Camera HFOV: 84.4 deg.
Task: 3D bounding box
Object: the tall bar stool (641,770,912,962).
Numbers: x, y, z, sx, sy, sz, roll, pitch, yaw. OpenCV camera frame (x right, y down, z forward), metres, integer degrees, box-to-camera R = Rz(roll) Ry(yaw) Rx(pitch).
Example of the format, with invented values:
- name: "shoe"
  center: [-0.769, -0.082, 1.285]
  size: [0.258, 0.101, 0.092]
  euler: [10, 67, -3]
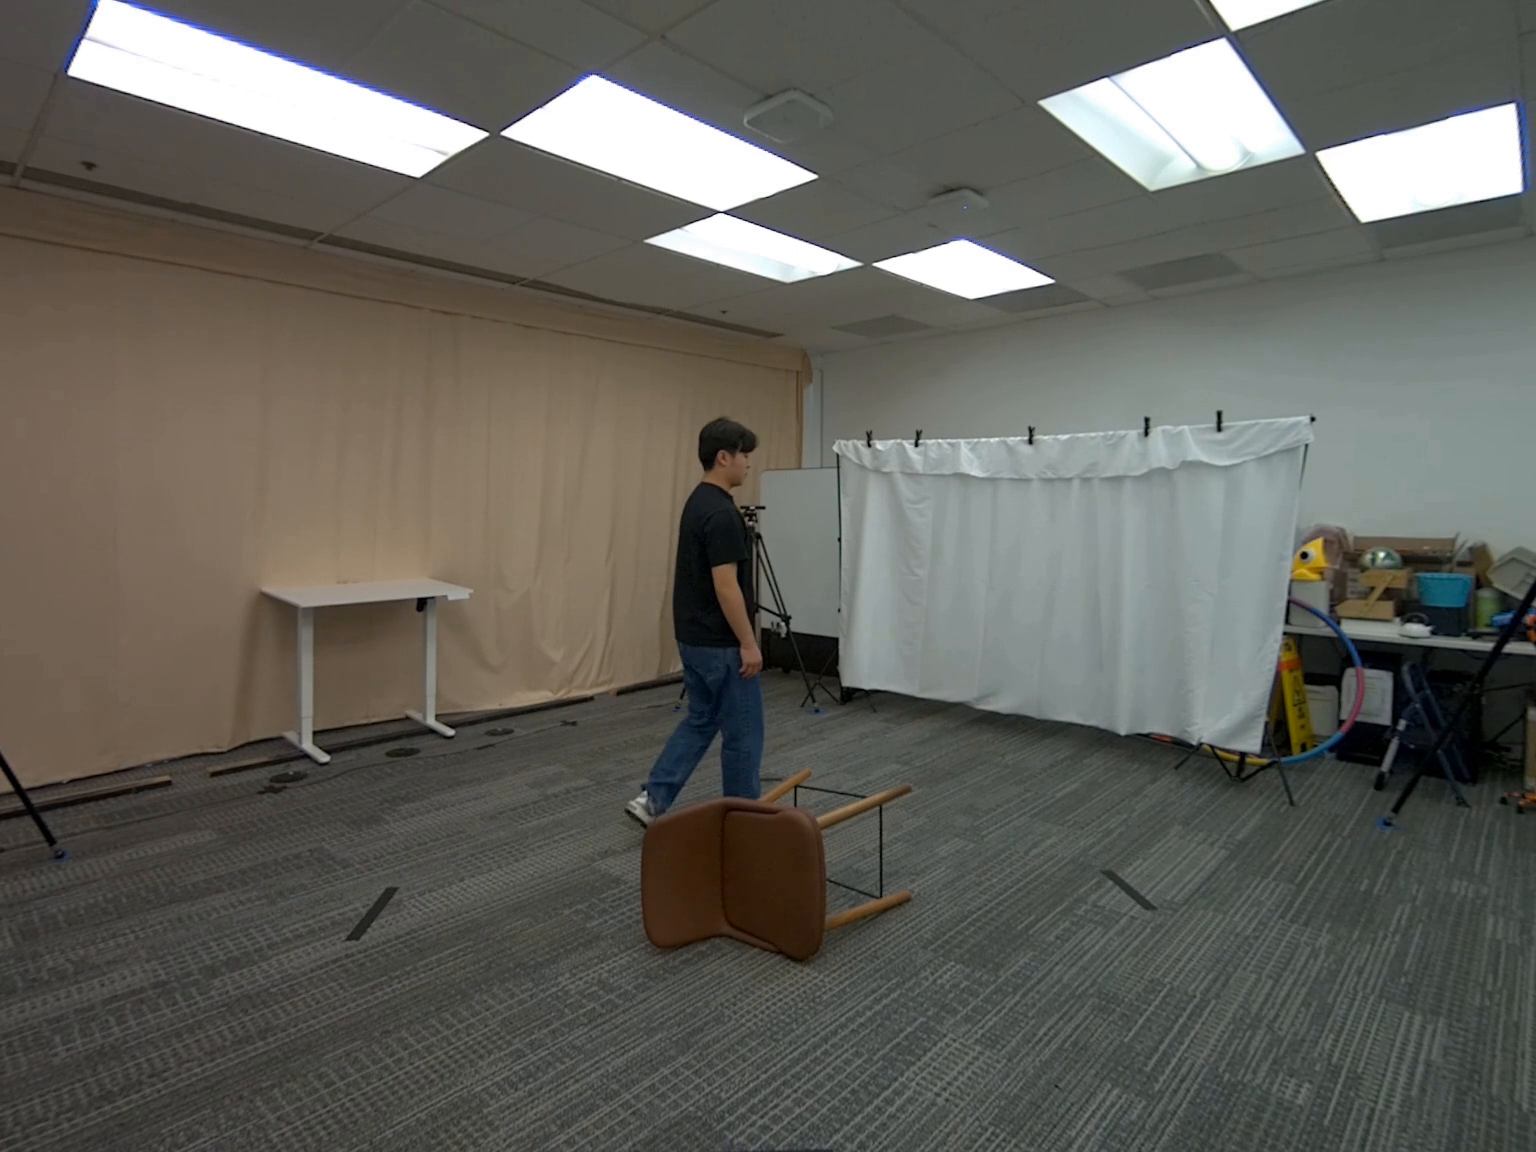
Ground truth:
- name: "tall bar stool"
  center: [0.068, 0.945, 2.785]
  size: [0.483, 0.456, 0.862]
  euler: [1, 2, 40]
